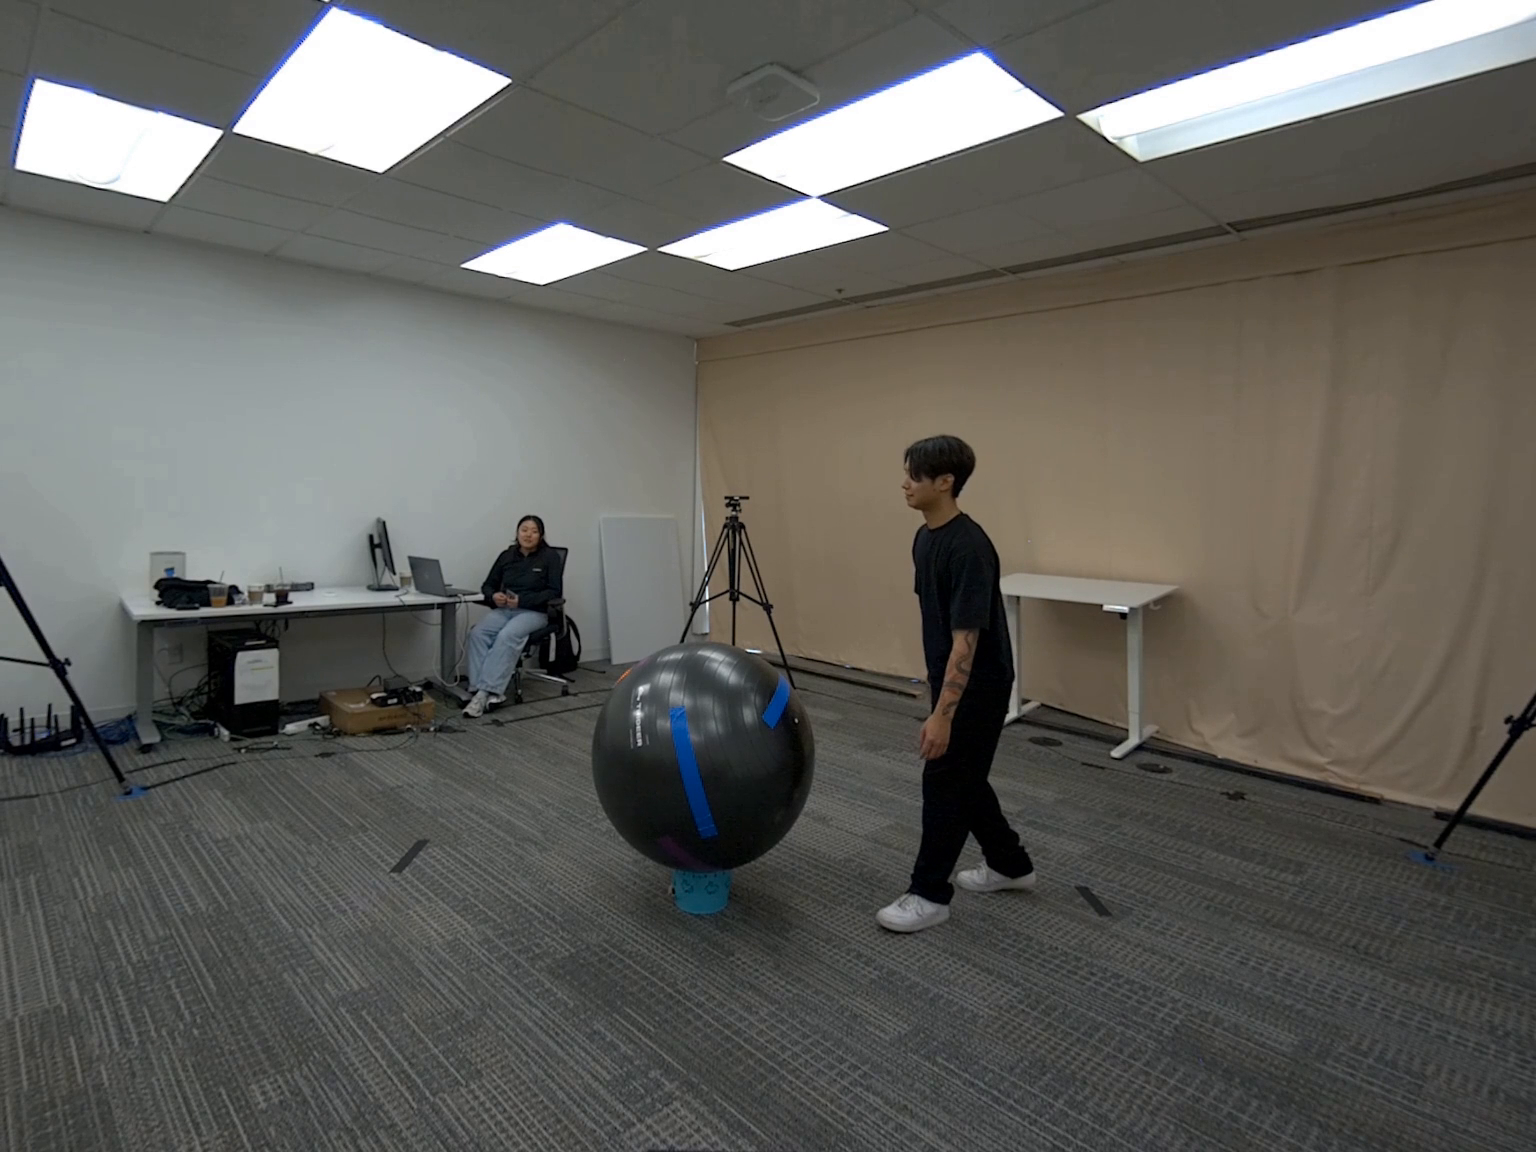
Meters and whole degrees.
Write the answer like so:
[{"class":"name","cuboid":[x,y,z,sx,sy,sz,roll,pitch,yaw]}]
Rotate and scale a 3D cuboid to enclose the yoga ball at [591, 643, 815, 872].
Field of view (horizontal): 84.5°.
[{"class":"yoga ball","cuboid":[-0.230,0.610,2.880,0.757,0.756,0.761,1,4,-1]}]
